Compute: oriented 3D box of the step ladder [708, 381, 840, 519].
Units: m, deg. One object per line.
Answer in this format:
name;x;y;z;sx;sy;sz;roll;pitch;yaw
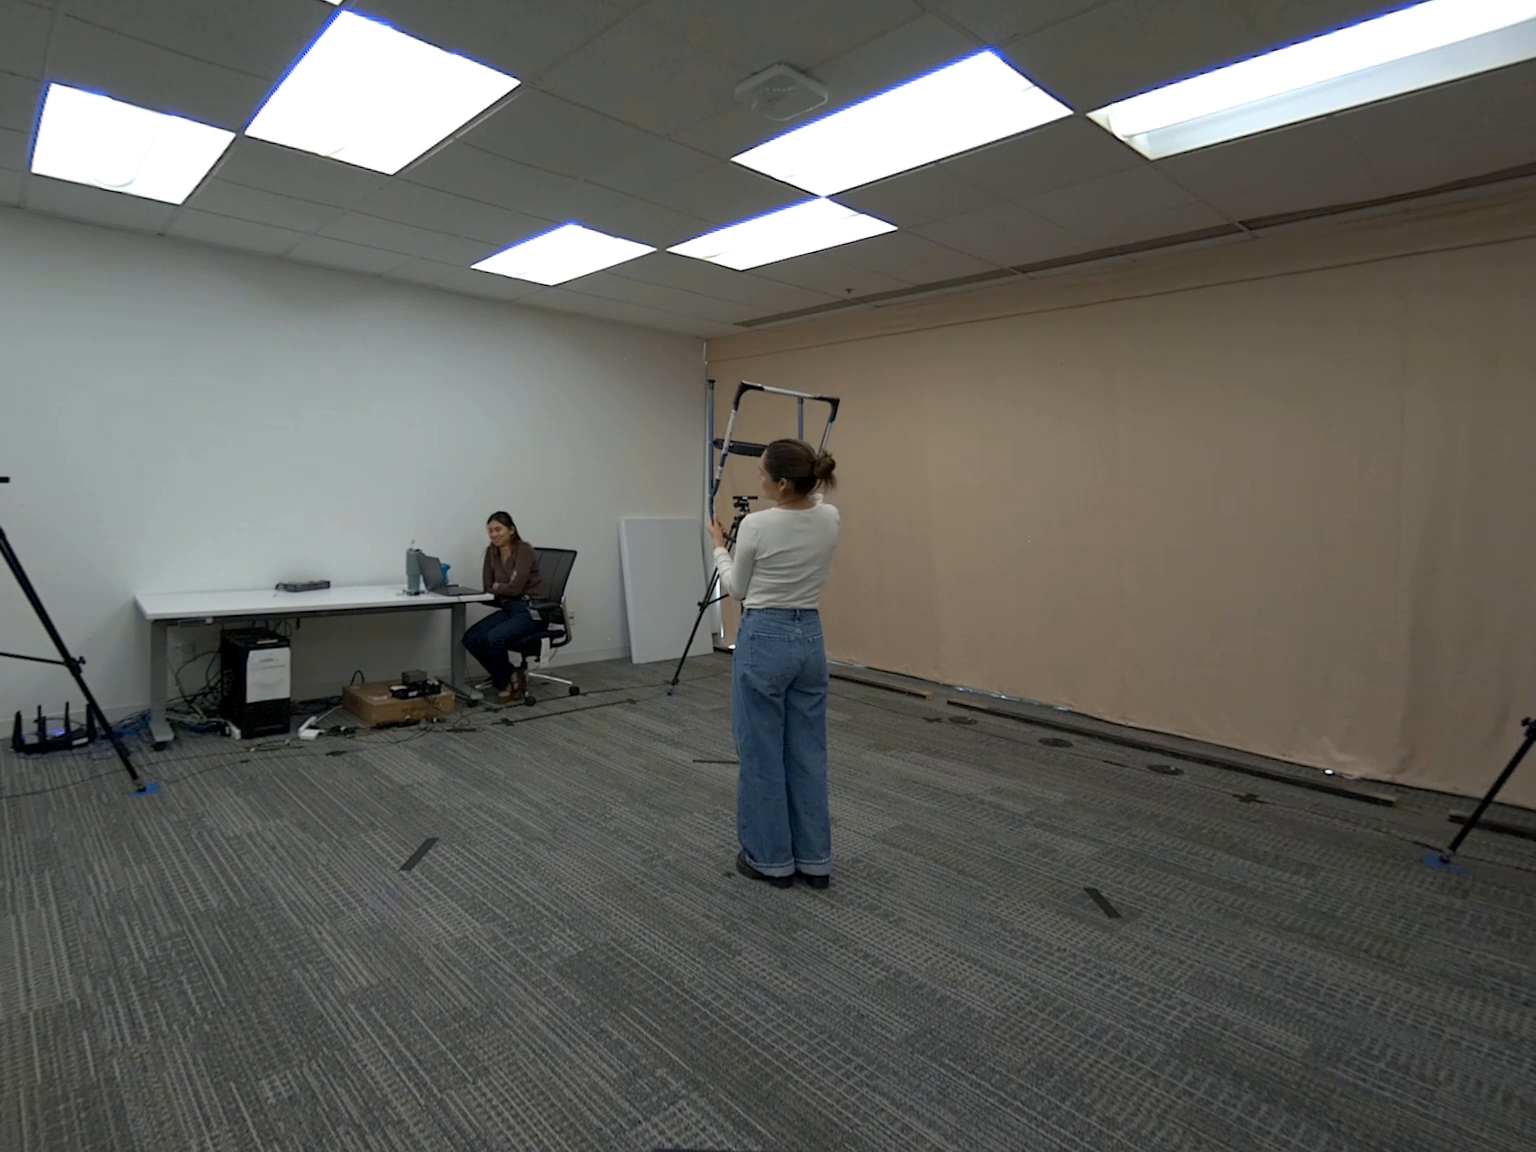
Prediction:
step ladder;-0.033;-0.423;3.270;0.423;0.603;0.357;4;9;-23
